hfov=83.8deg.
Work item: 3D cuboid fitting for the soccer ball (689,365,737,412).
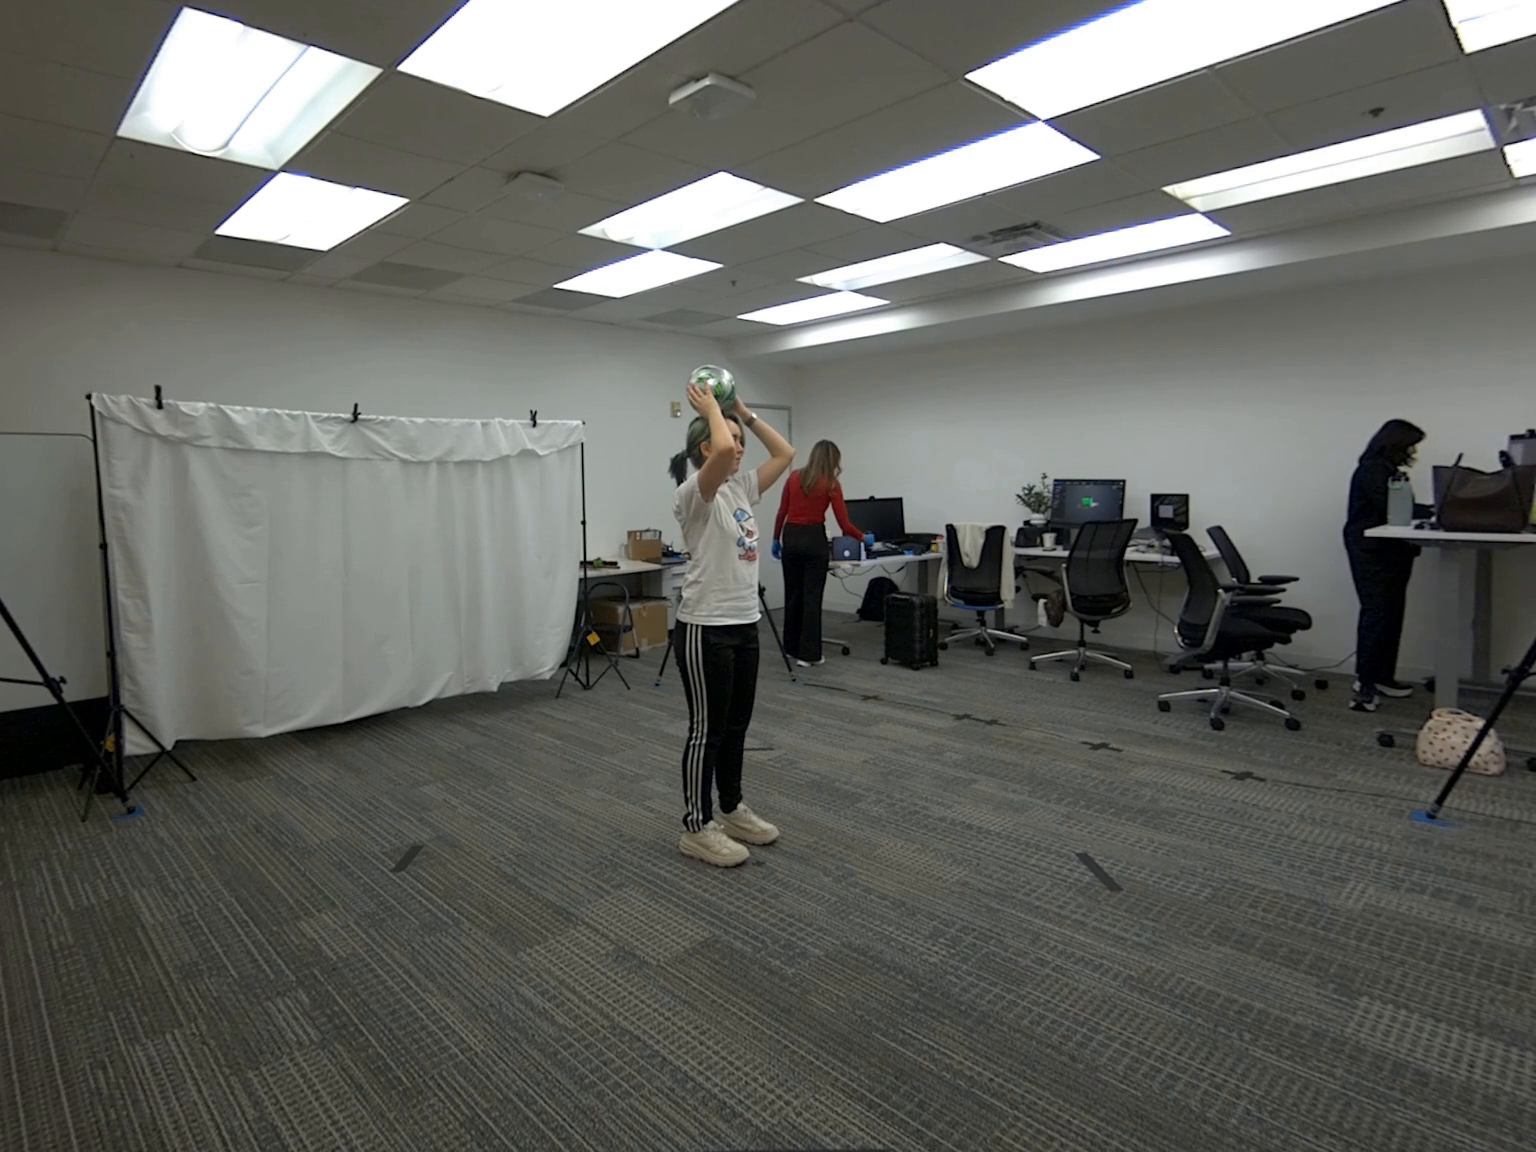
[{"bbox_3d":[-0.212,-0.688,3.179,0.187,0.187,0.188,-1,5,-2],"label":"soccer ball"}]
